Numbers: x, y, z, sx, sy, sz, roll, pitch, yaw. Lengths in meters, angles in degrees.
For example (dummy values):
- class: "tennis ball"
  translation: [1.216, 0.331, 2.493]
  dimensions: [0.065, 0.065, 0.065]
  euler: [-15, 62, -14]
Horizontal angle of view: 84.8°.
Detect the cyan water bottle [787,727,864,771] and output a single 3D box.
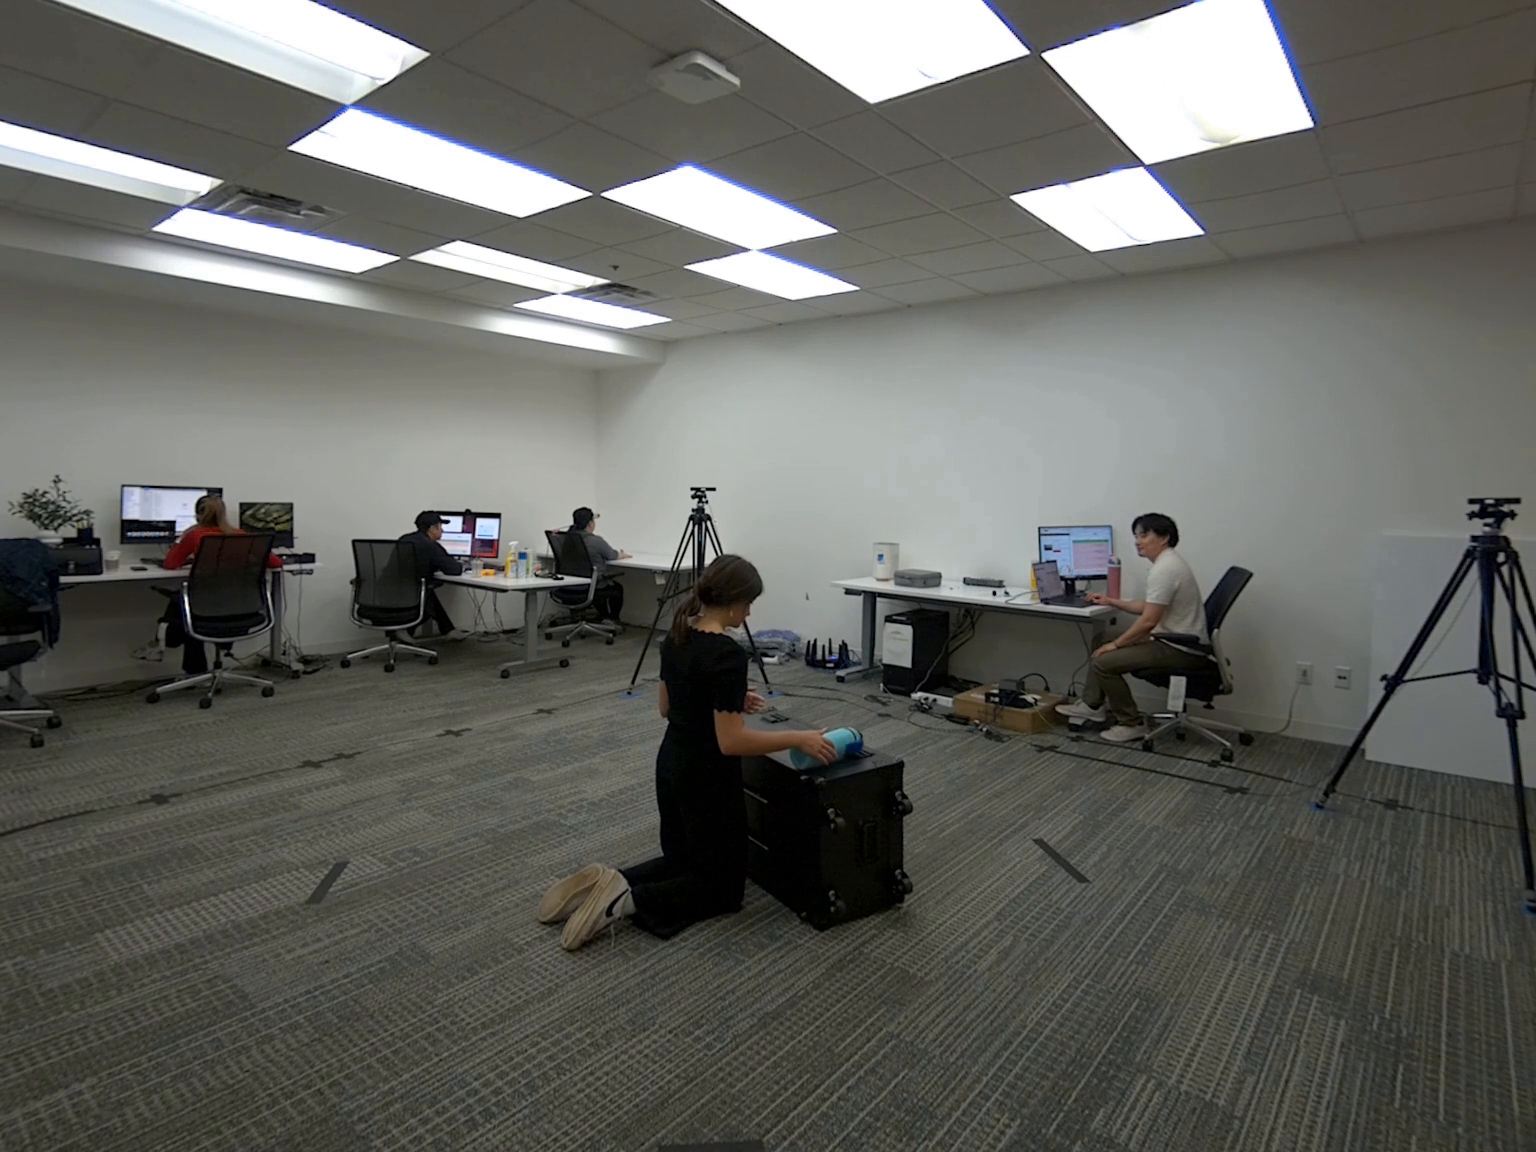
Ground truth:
- class: "cyan water bottle"
  translation: [0.191, 0.566, 2.835]
  dimensions: [0.276, 0.092, 0.095]
  euler: [-8, 9, -36]
